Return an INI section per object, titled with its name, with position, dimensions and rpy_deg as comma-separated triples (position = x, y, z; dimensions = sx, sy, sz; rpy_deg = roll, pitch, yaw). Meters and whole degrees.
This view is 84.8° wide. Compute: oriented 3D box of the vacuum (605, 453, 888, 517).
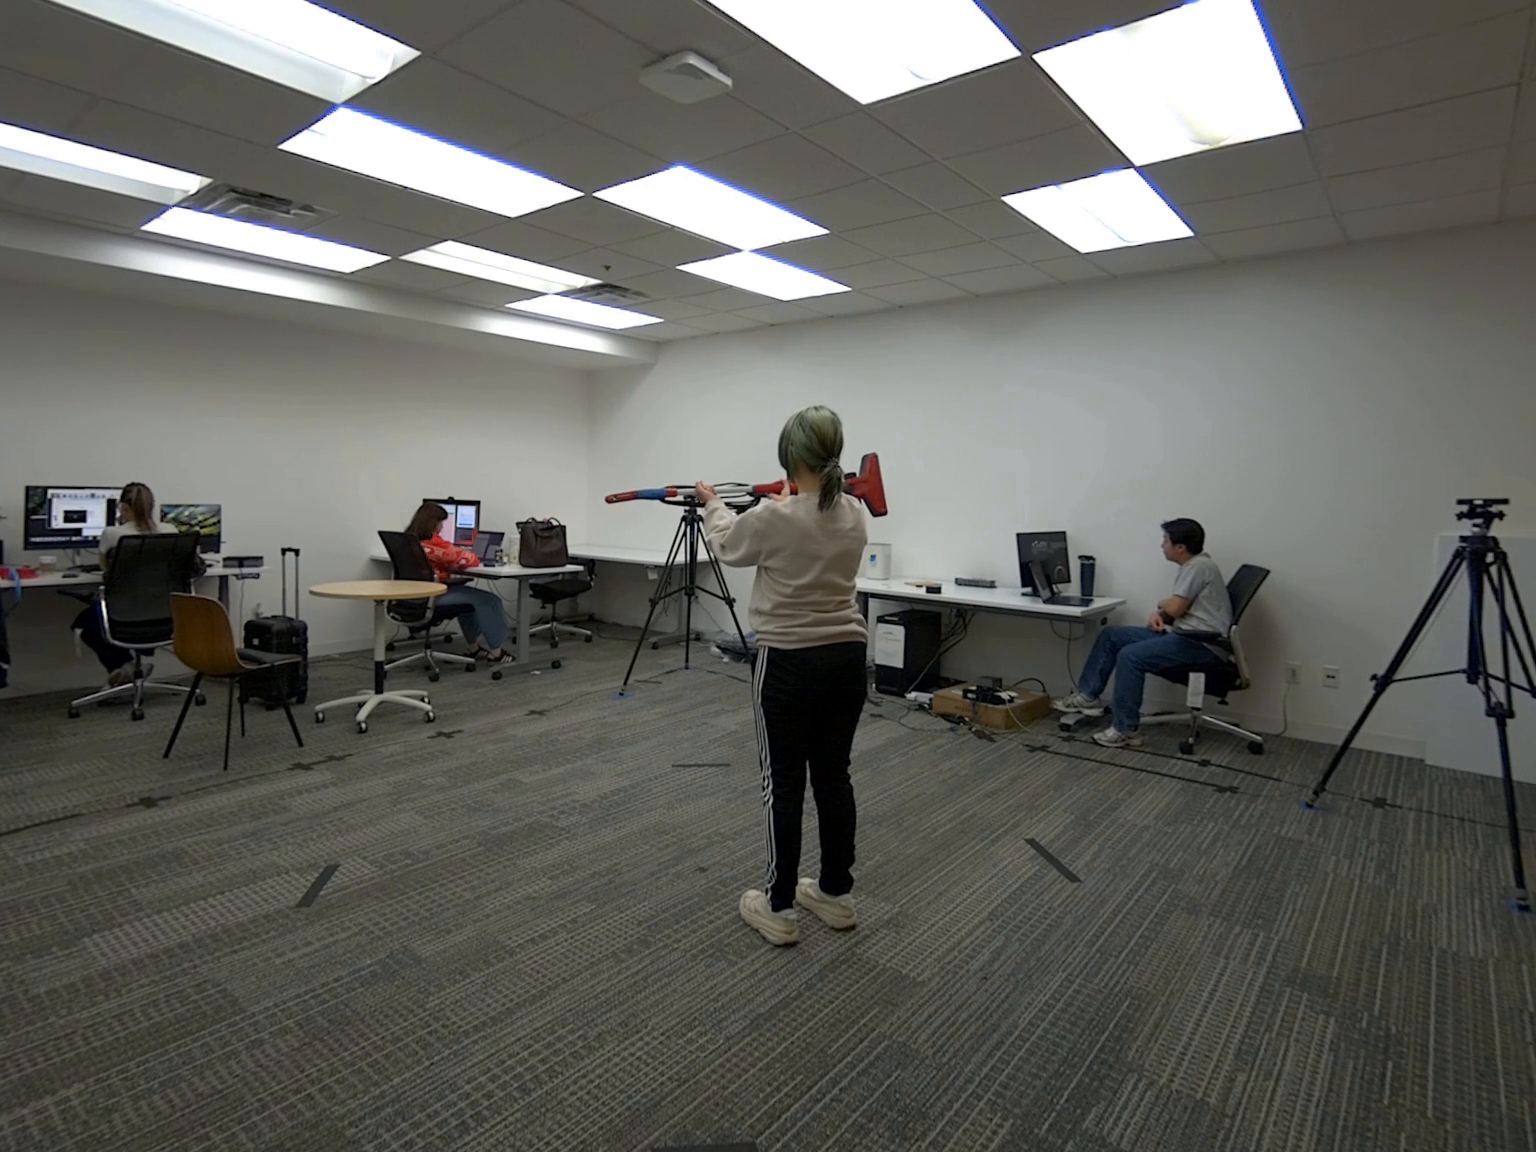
[vacuum]
position = -0.078, -0.300, 3.120
dimensions = 1.027, 0.256, 0.145
rpy_deg = -5, -13, -23
